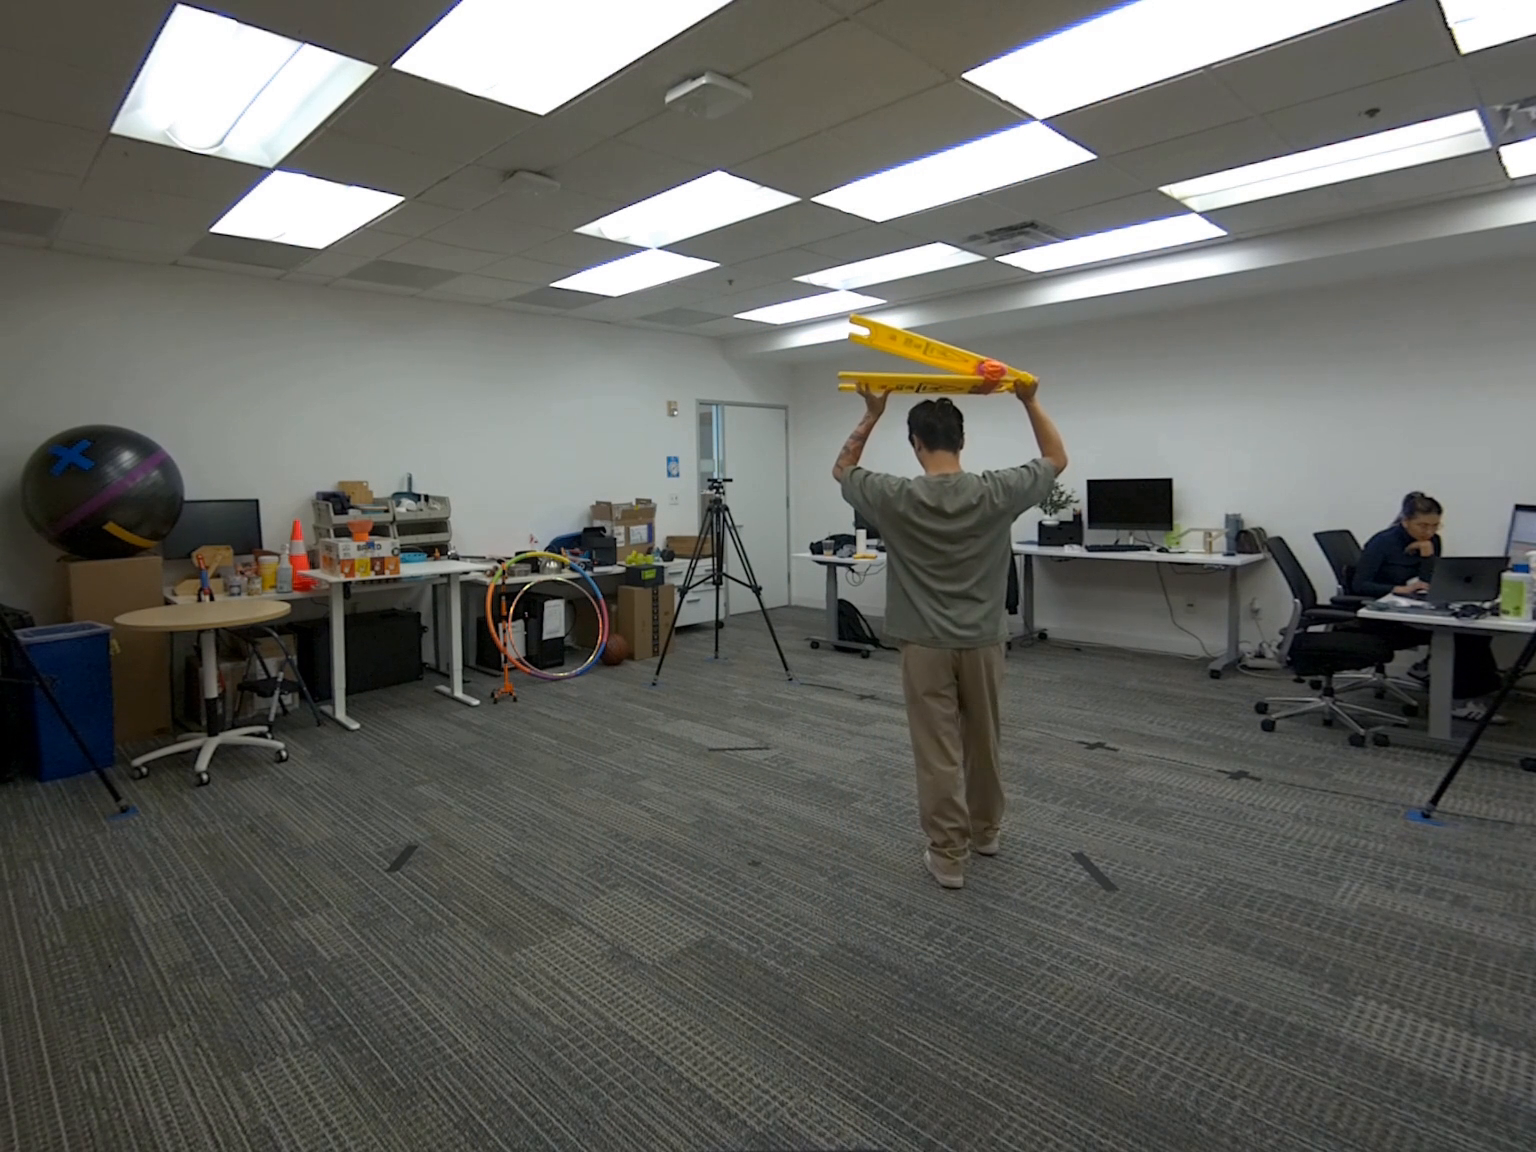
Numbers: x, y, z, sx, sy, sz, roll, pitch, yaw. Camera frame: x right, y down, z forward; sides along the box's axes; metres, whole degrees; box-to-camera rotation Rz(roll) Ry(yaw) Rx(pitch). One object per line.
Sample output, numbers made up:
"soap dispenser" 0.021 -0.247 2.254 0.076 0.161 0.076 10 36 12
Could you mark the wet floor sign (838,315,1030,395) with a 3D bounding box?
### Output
"wet floor sign" 0.597 -0.731 3.039 0.651 0.290 0.280 8 -2 6
